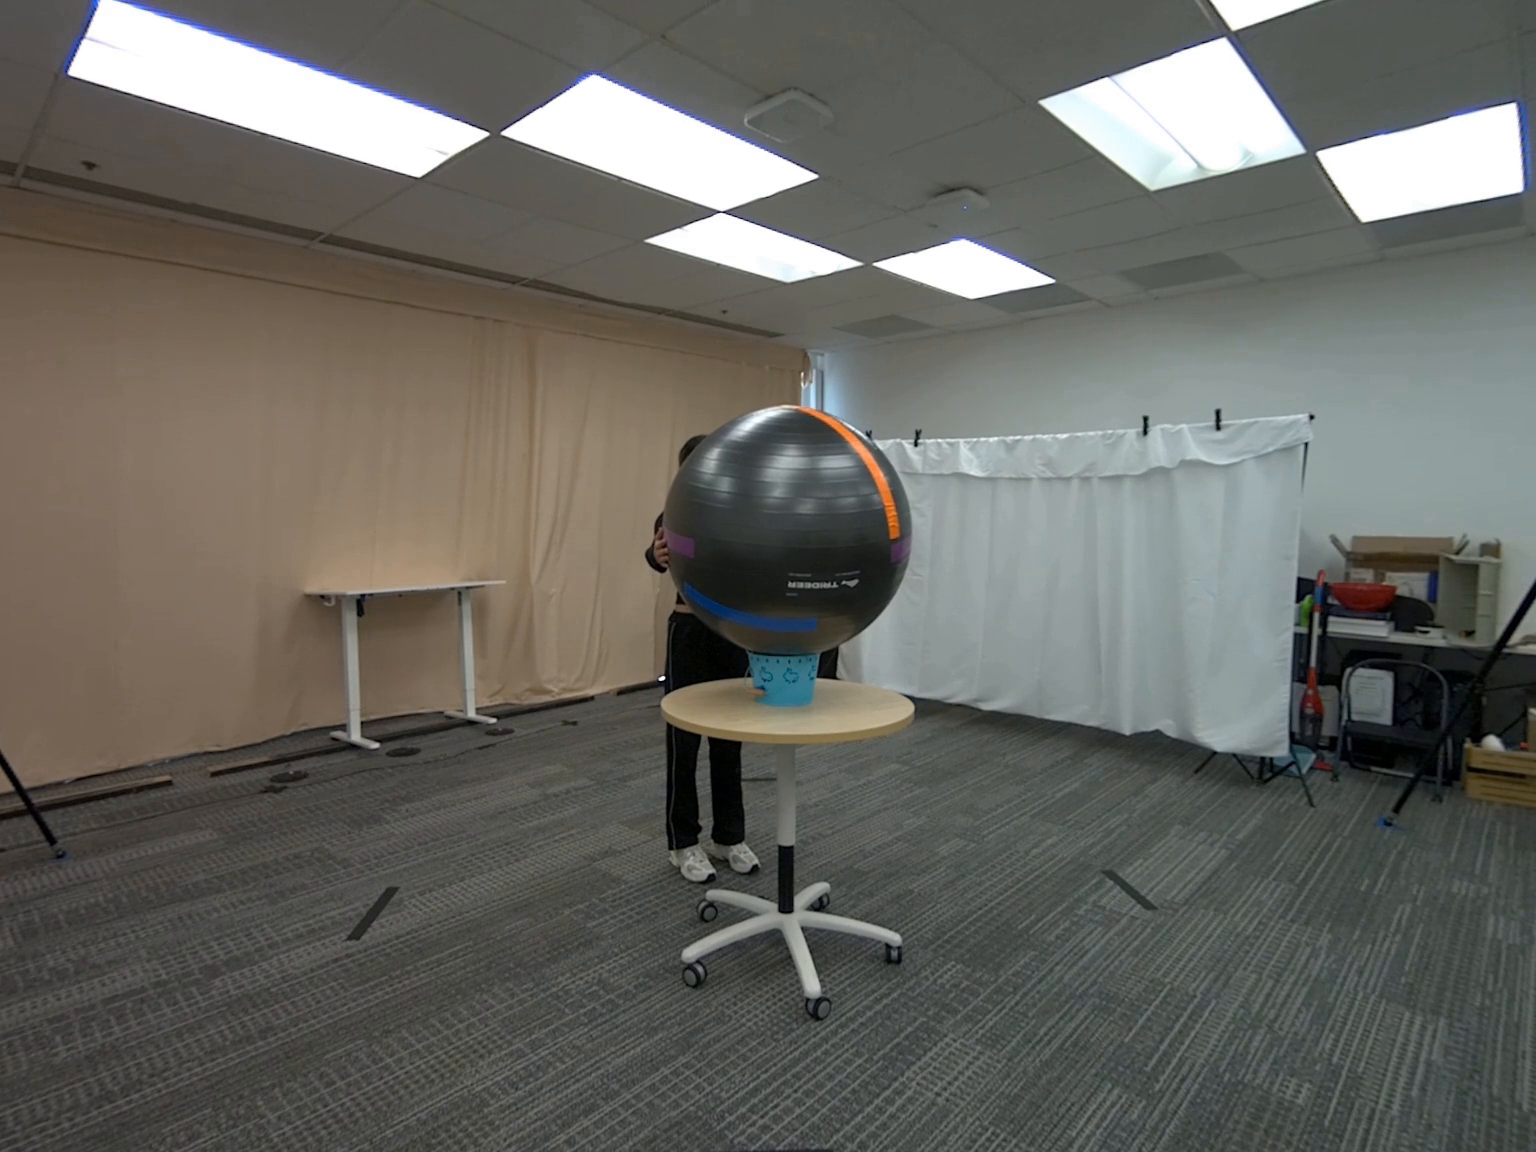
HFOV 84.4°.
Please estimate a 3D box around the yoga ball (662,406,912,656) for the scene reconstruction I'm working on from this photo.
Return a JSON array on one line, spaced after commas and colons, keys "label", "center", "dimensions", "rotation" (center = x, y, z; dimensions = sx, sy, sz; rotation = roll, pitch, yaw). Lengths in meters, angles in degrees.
[{"label": "yoga ball", "center": [0.055, -0.129, 2.575], "dimensions": [0.757, 0.756, 0.760], "rotation": [0, 4, -2]}]
